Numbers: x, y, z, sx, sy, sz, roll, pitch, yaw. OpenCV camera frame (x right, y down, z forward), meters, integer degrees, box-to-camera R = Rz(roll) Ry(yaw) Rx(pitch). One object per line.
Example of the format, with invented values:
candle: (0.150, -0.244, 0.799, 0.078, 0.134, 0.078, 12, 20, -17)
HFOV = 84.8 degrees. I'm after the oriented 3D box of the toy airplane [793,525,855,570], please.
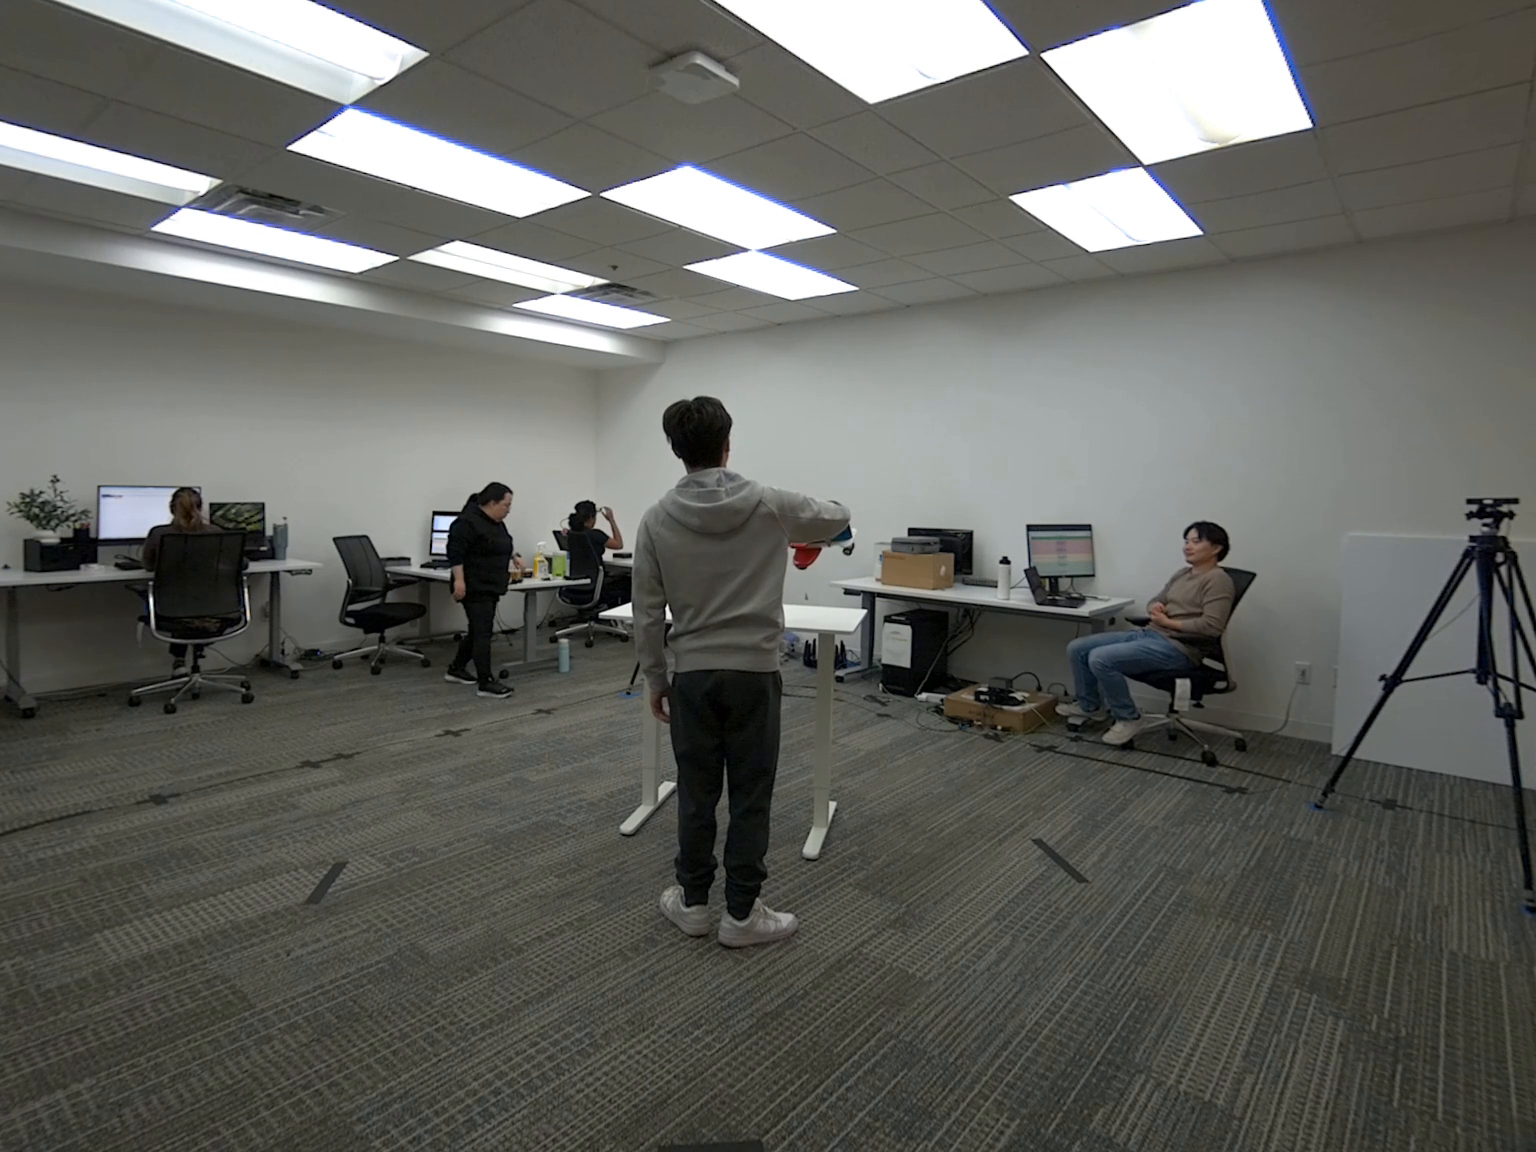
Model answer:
toy airplane: (0.178, -0.149, 3.117, 0.260, 0.152, 0.258, -26, 24, 4)
